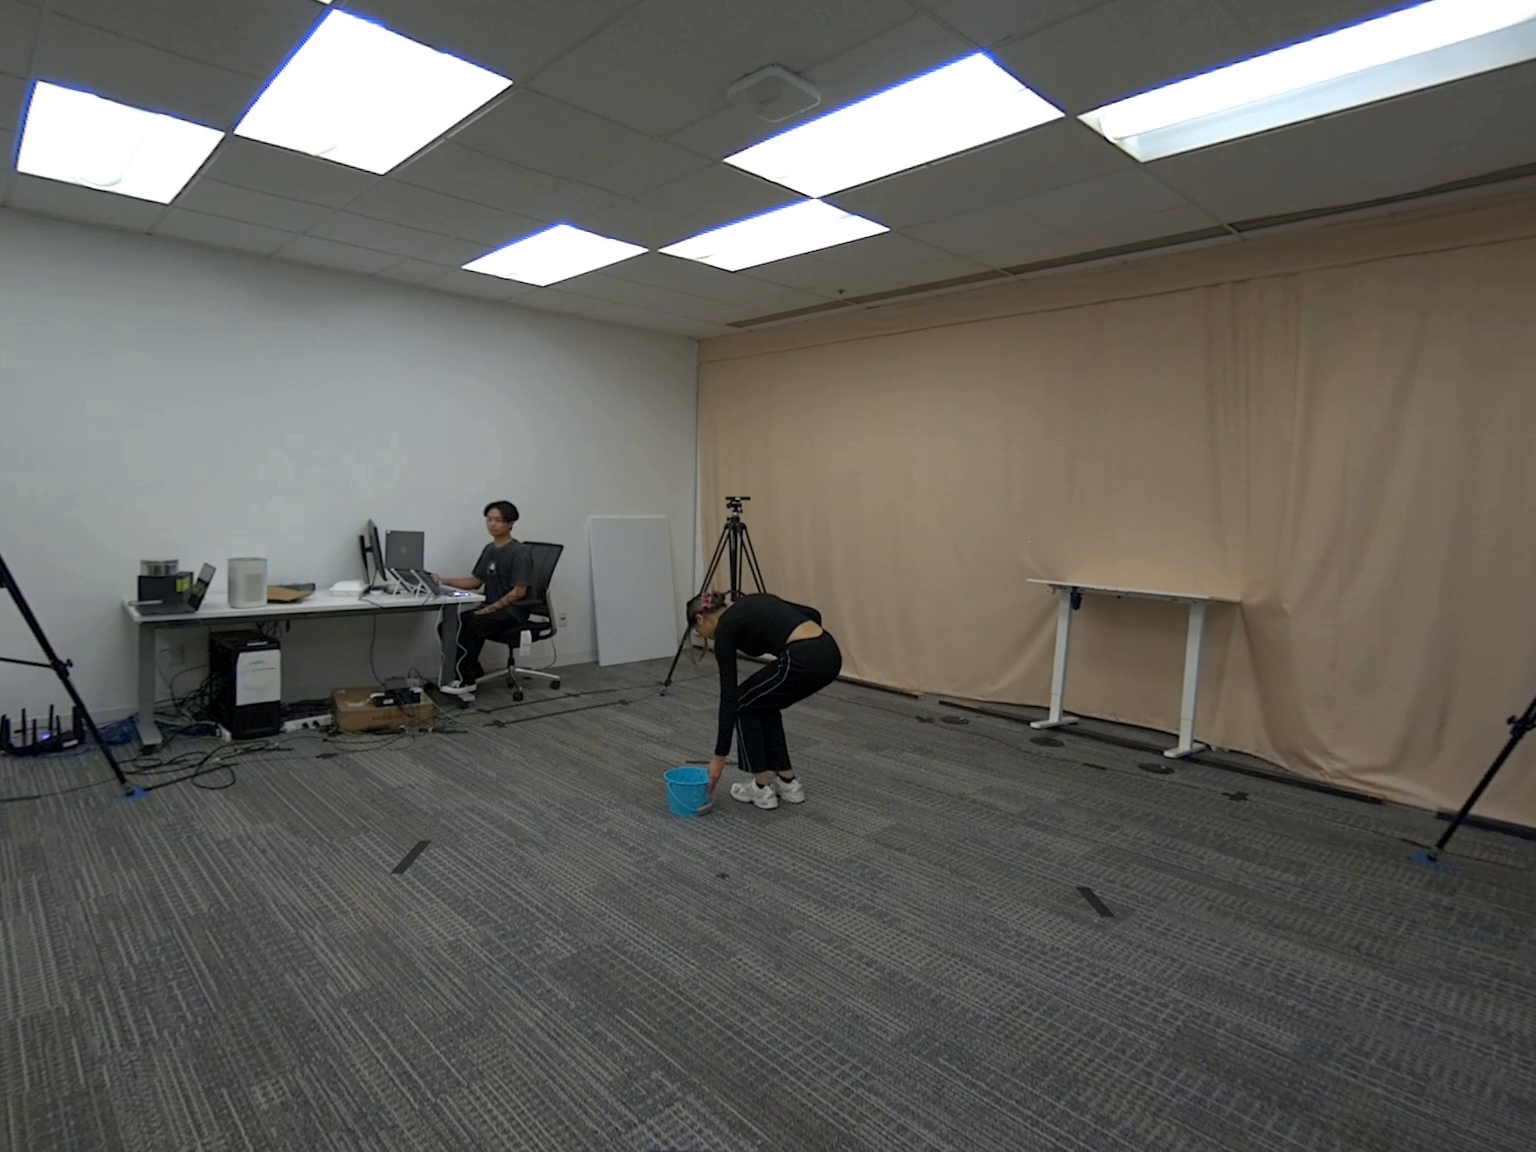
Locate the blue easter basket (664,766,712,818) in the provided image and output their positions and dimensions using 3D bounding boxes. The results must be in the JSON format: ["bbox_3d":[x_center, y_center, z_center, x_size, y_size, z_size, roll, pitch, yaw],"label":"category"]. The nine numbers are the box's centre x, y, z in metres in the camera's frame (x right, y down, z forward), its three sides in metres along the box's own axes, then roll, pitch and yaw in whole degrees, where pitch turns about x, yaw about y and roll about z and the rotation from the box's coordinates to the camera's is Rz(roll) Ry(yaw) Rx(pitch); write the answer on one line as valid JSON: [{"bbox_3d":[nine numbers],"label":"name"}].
[{"bbox_3d":[-0.358,0.965,3.765,0.243,0.155,0.244,1,5,-1],"label":"blue easter basket"}]
